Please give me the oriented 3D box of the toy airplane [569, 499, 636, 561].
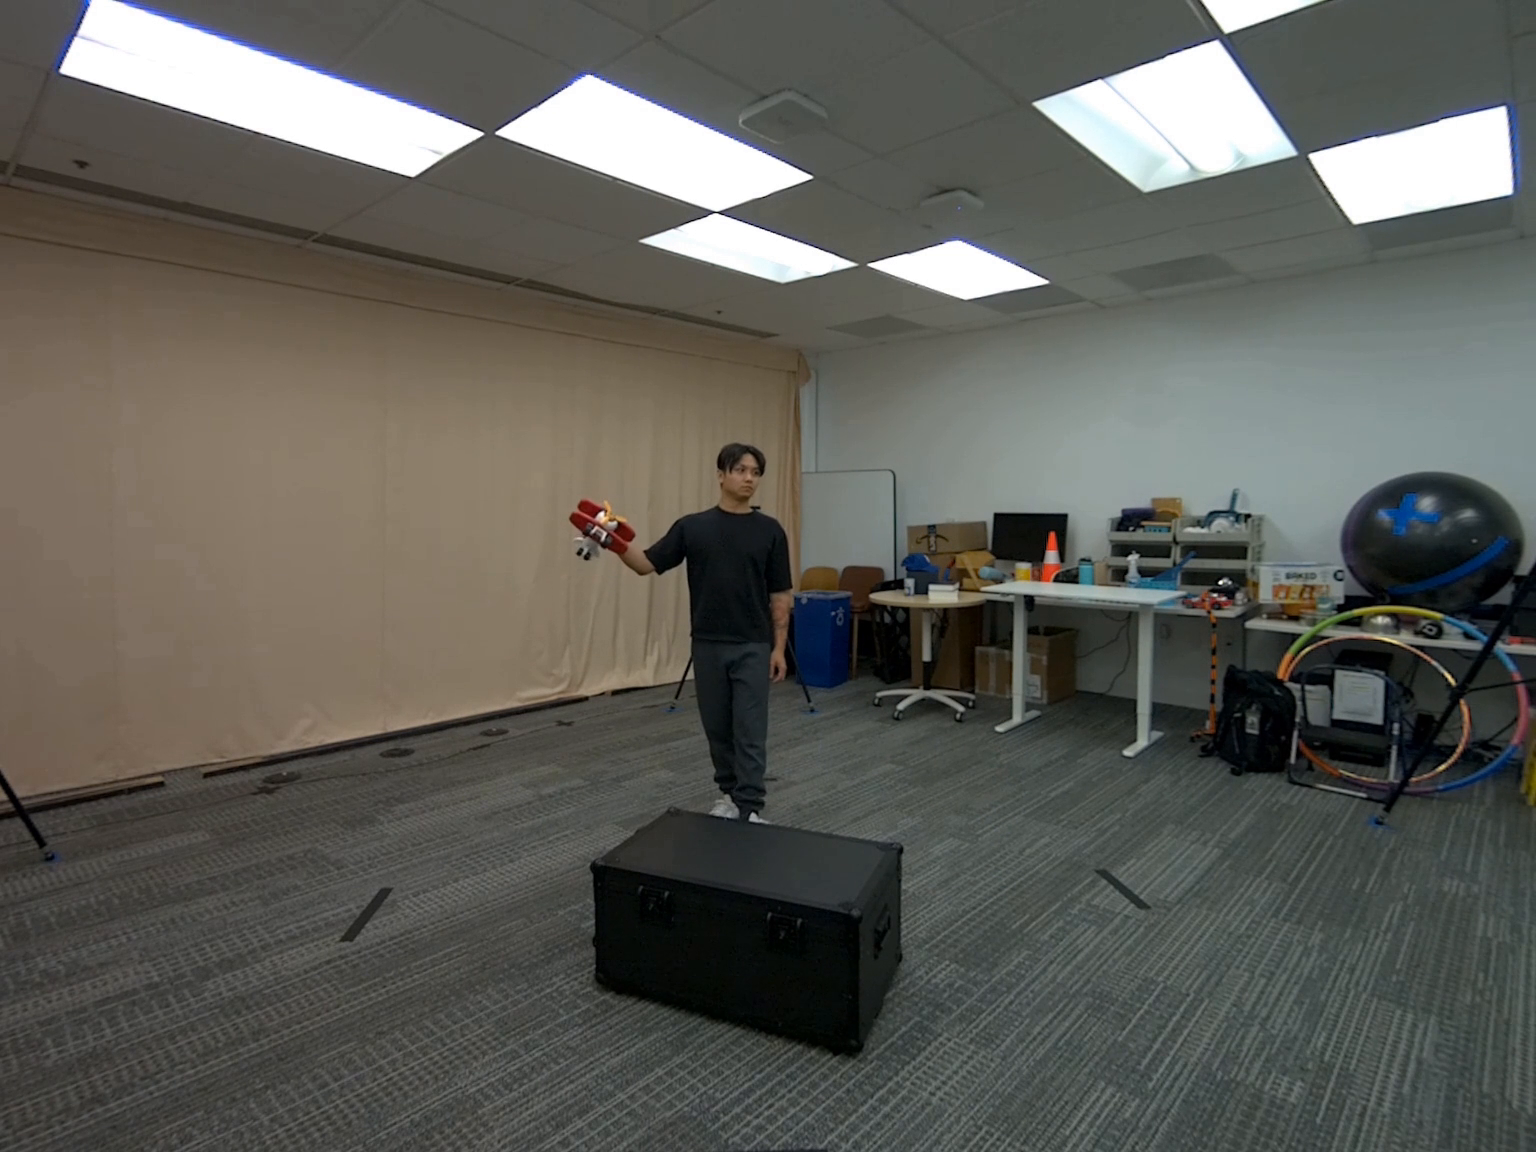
[{"bbox_3d":[-0.677,-0.167,3.296,0.267,0.156,0.243,-3,-44,40],"label":"toy airplane"}]
